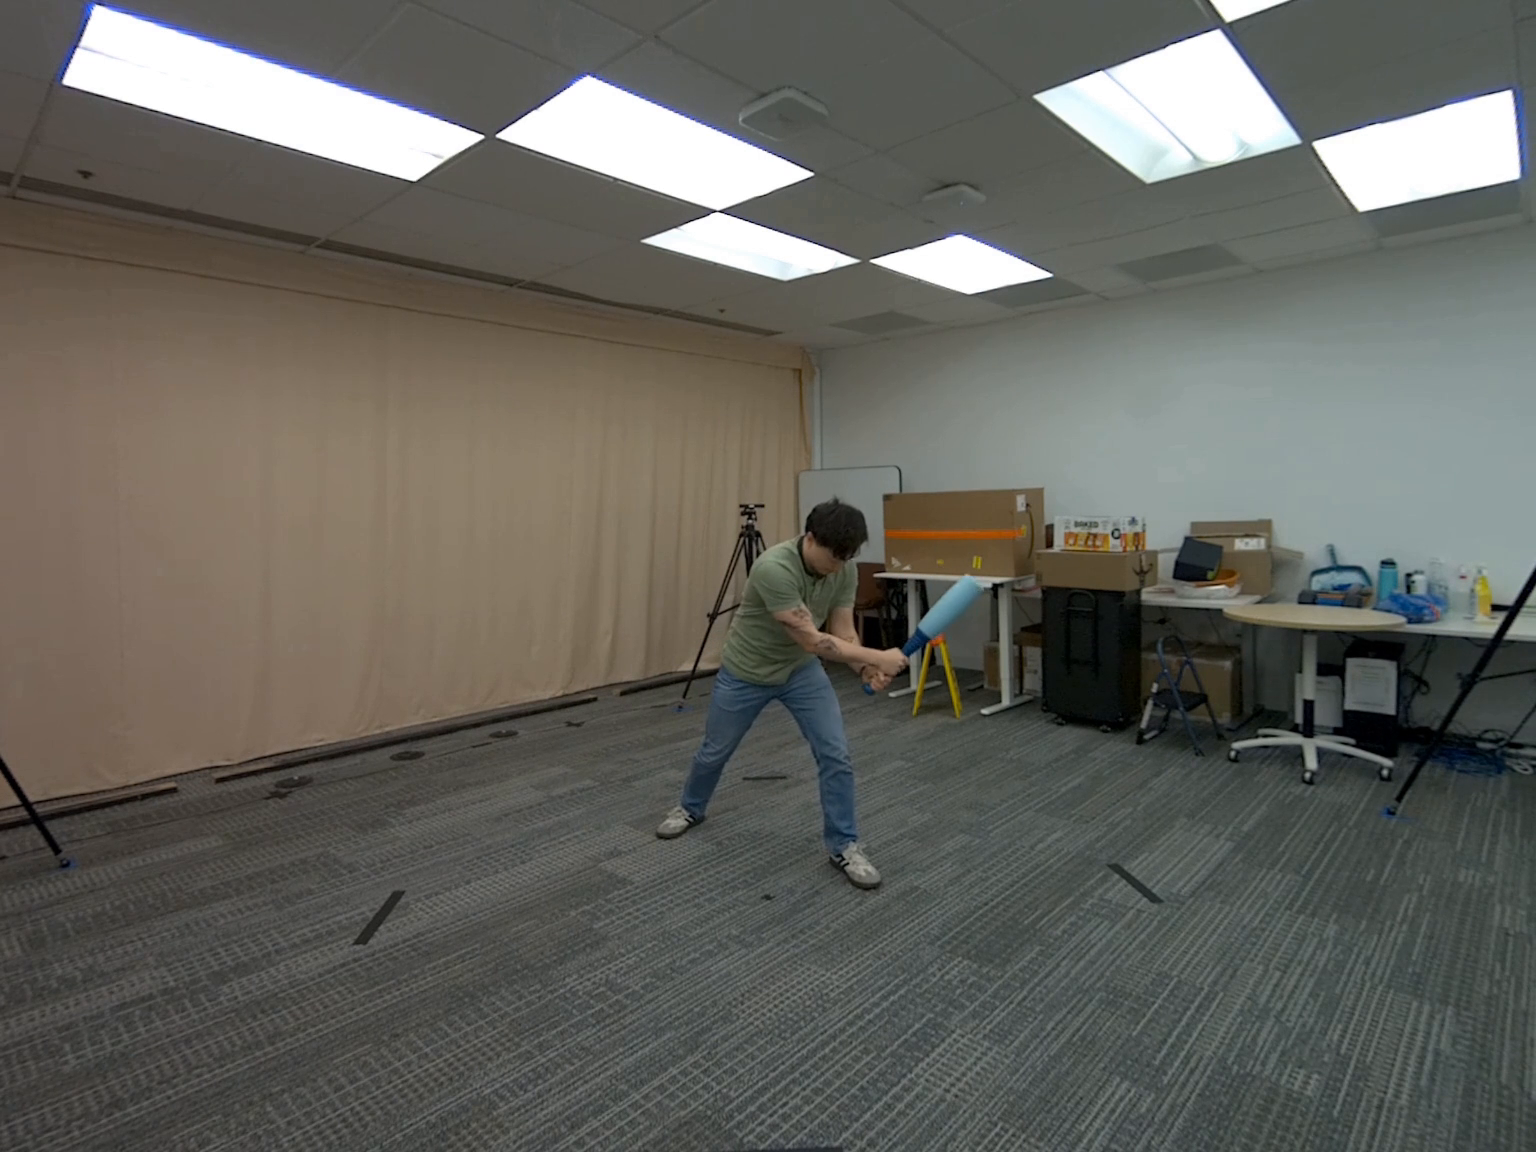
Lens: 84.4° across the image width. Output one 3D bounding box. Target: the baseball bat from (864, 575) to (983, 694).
[{"bbox_3d":[0.525,0.216,2.929,0.088,0.544,0.090,42,10,-11],"label":"baseball bat"}]
